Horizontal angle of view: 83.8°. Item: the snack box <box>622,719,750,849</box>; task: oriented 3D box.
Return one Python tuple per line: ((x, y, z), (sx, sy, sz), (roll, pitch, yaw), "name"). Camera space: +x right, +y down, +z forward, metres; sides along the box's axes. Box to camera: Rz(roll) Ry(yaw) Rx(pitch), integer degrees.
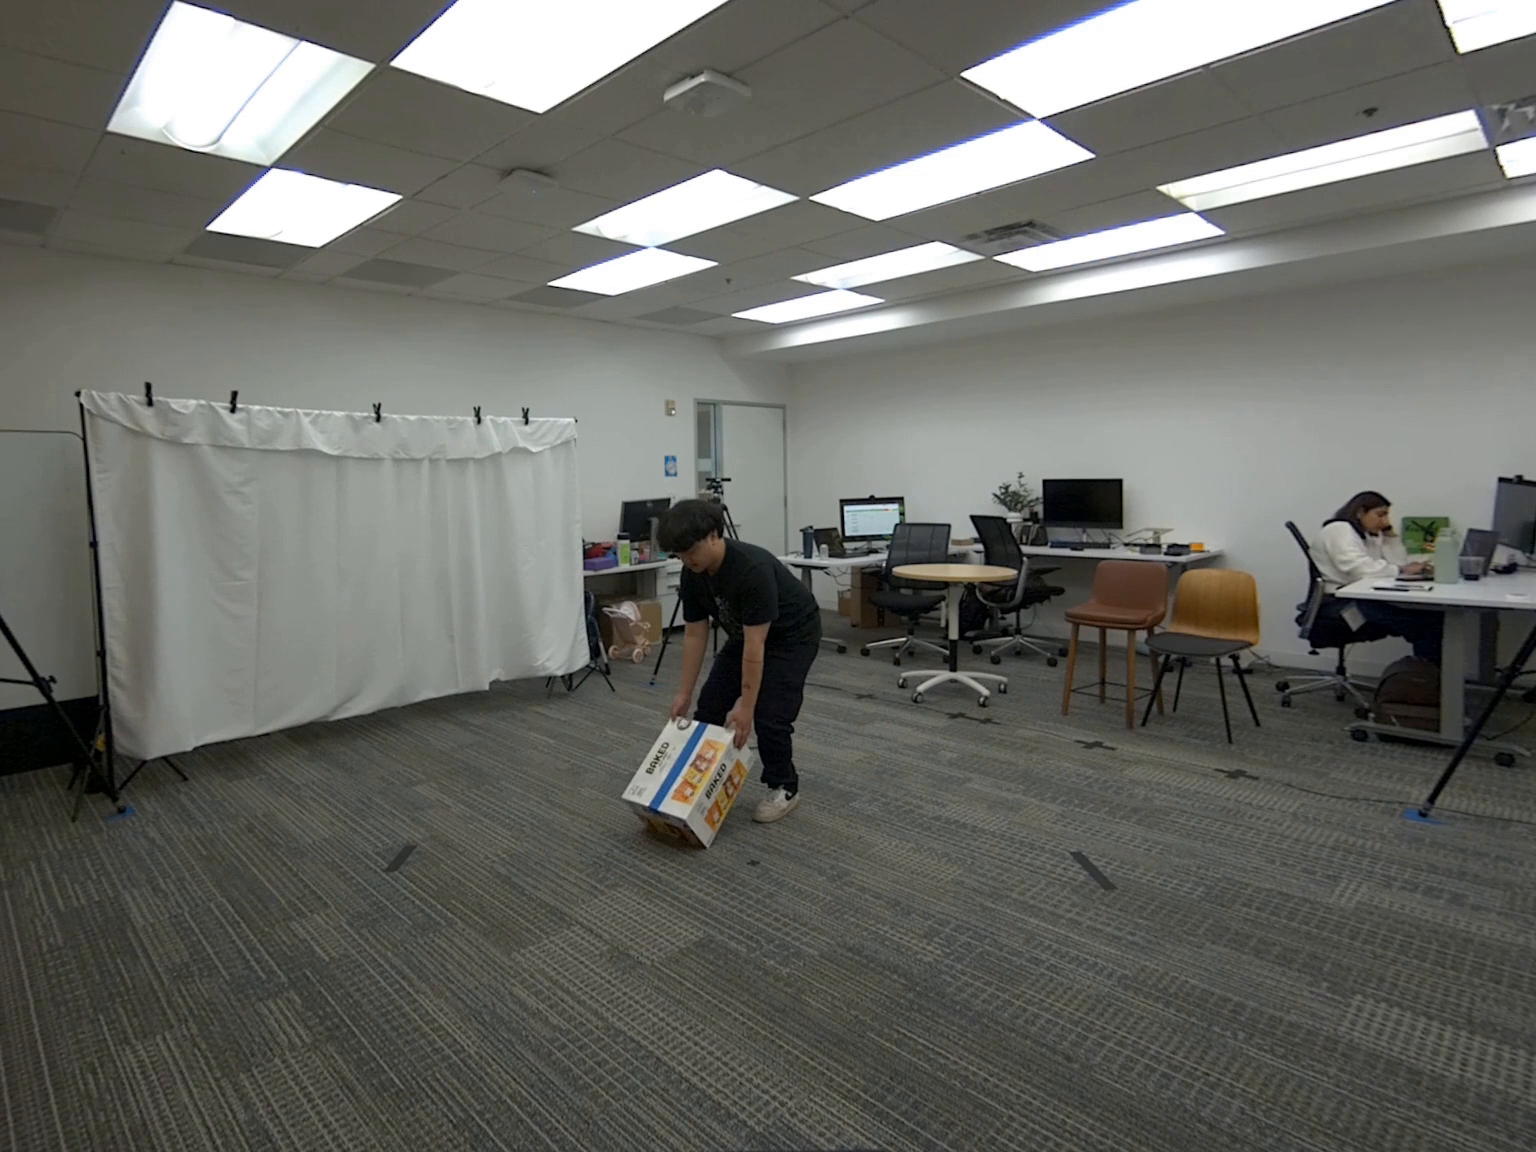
((-0.309, 0.807, 3.392), (0.350, 0.198, 0.407), (4, 48, 37), "snack box")
